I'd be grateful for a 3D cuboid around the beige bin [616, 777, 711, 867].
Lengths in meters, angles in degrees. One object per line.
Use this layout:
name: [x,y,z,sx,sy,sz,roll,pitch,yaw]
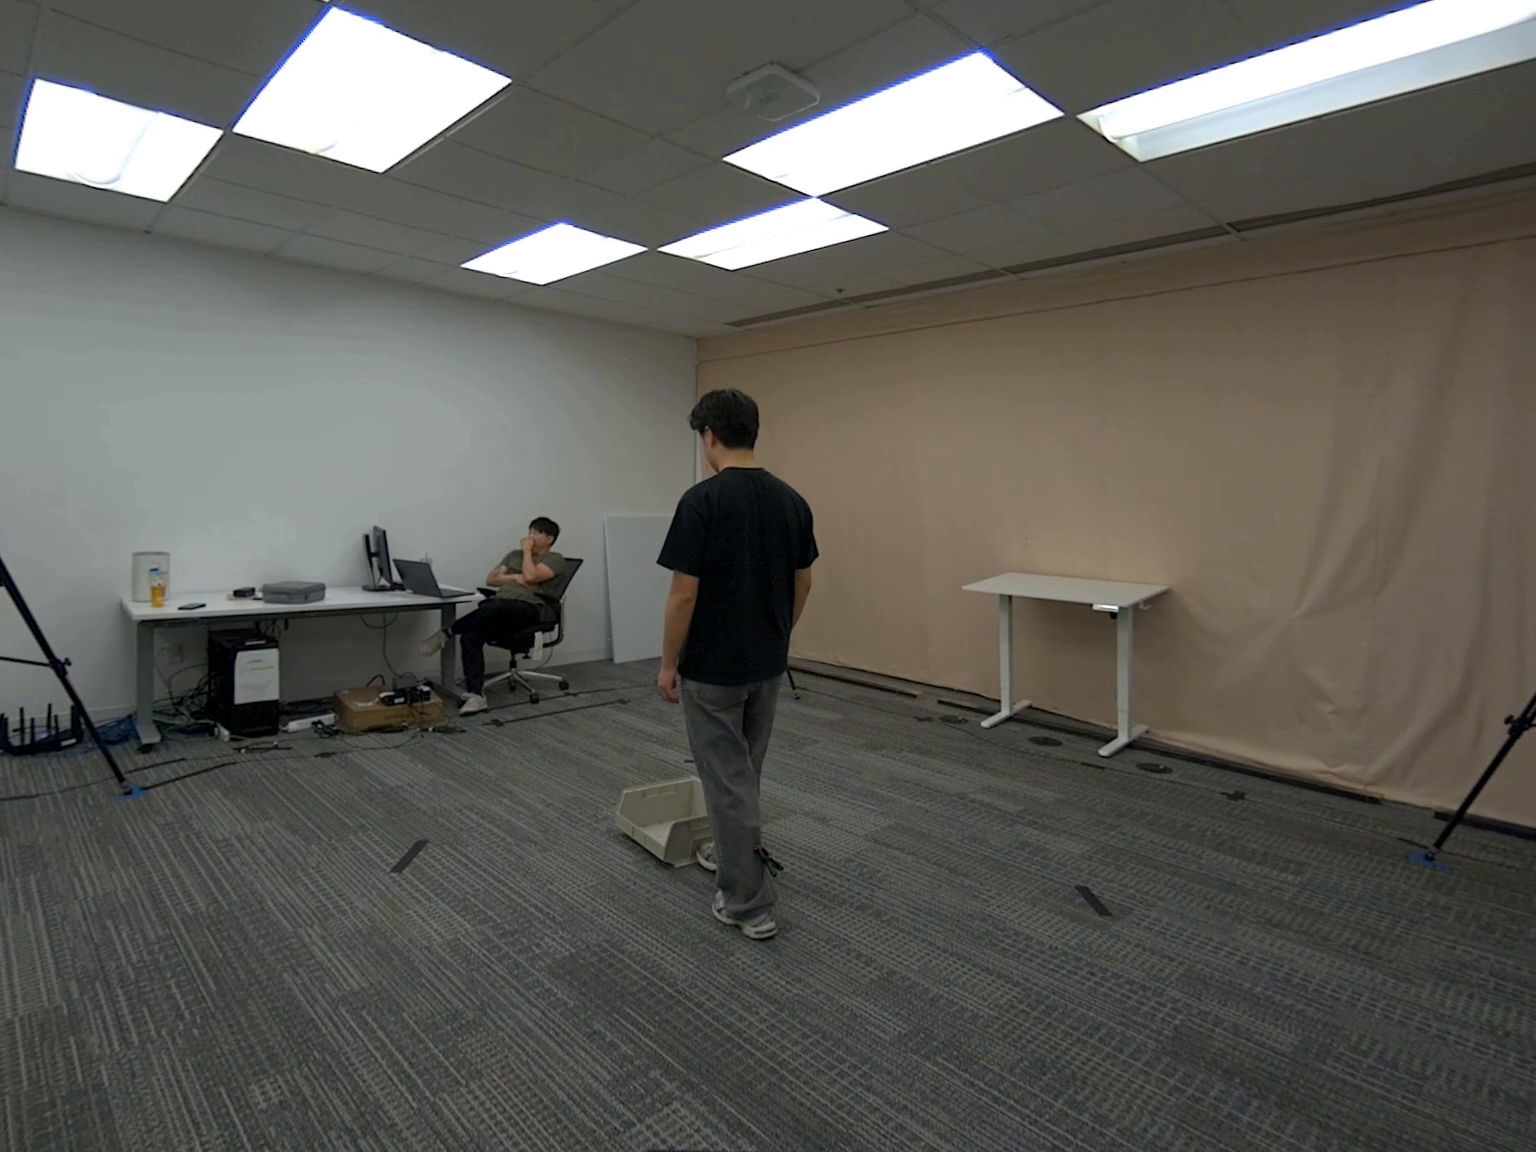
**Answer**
beige bin: [-0.358,0.986,3.389,0.369,0.188,0.433,0,4,-36]
